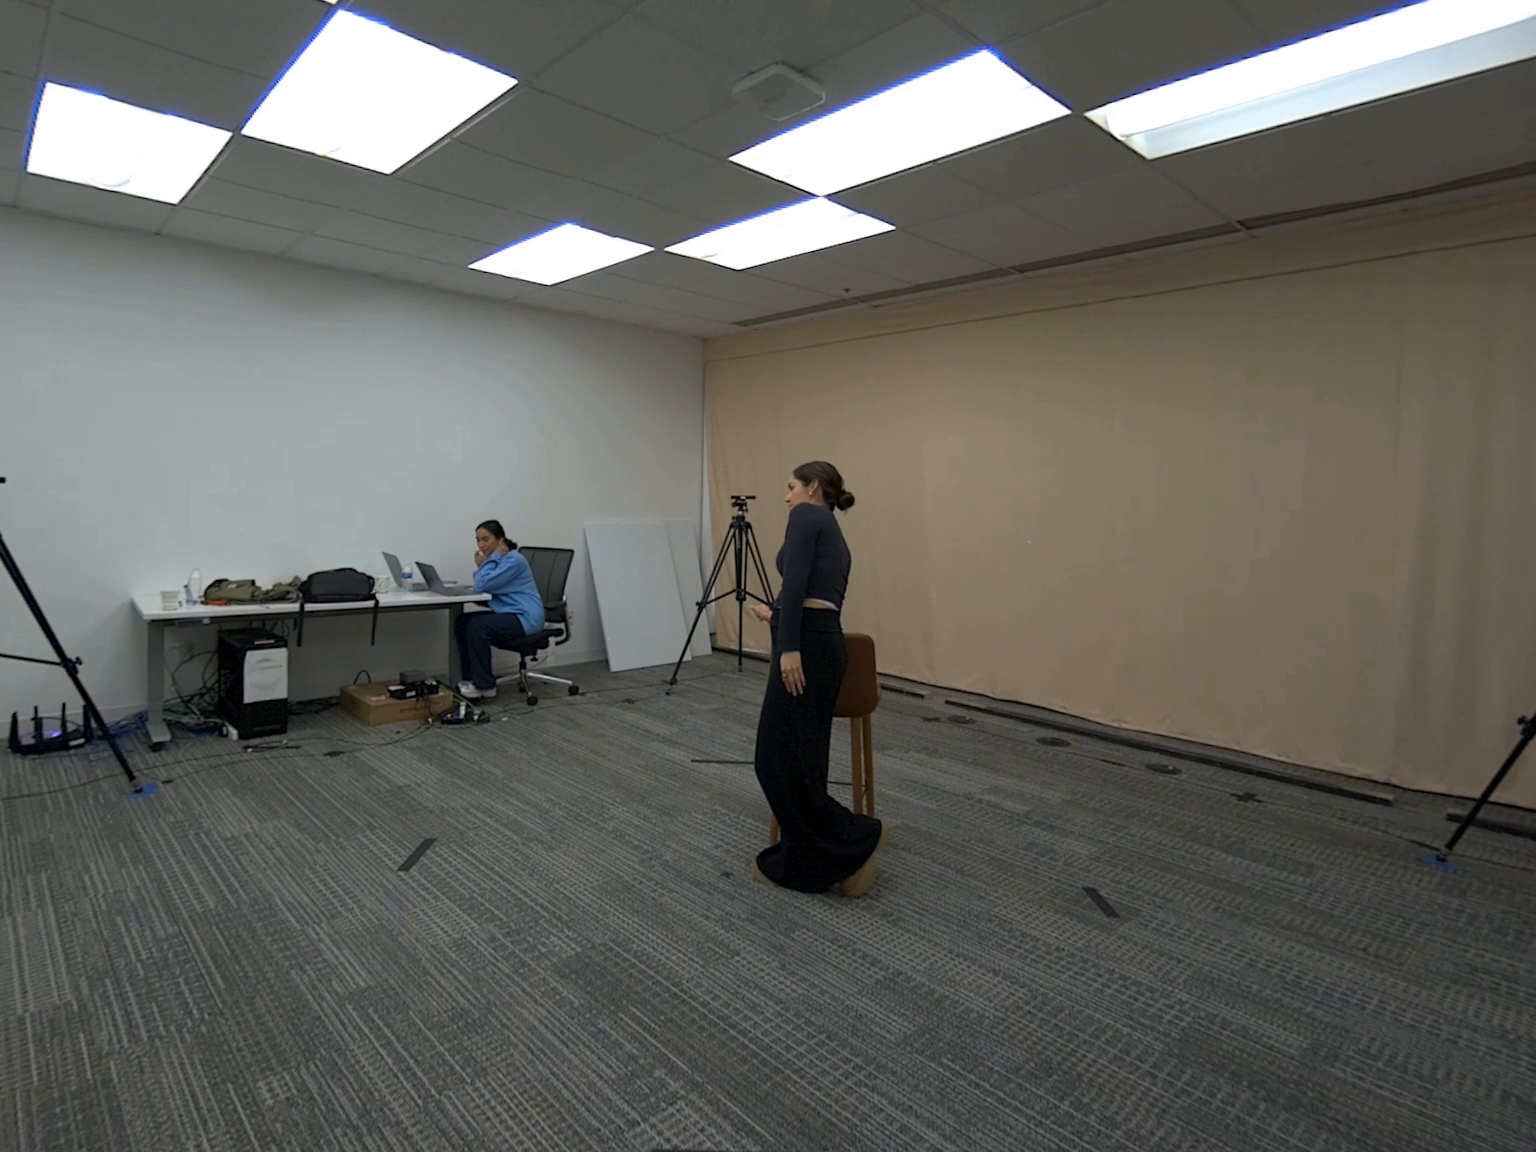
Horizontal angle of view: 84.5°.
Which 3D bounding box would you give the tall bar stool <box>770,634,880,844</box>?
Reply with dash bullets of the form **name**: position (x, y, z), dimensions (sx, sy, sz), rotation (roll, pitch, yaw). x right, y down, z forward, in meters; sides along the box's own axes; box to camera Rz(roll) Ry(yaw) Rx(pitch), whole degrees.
- **tall bar stool**: position (0.239, 0.639, 3.543), dimensions (0.461, 0.886, 0.464), rotation (2, 5, 13)
